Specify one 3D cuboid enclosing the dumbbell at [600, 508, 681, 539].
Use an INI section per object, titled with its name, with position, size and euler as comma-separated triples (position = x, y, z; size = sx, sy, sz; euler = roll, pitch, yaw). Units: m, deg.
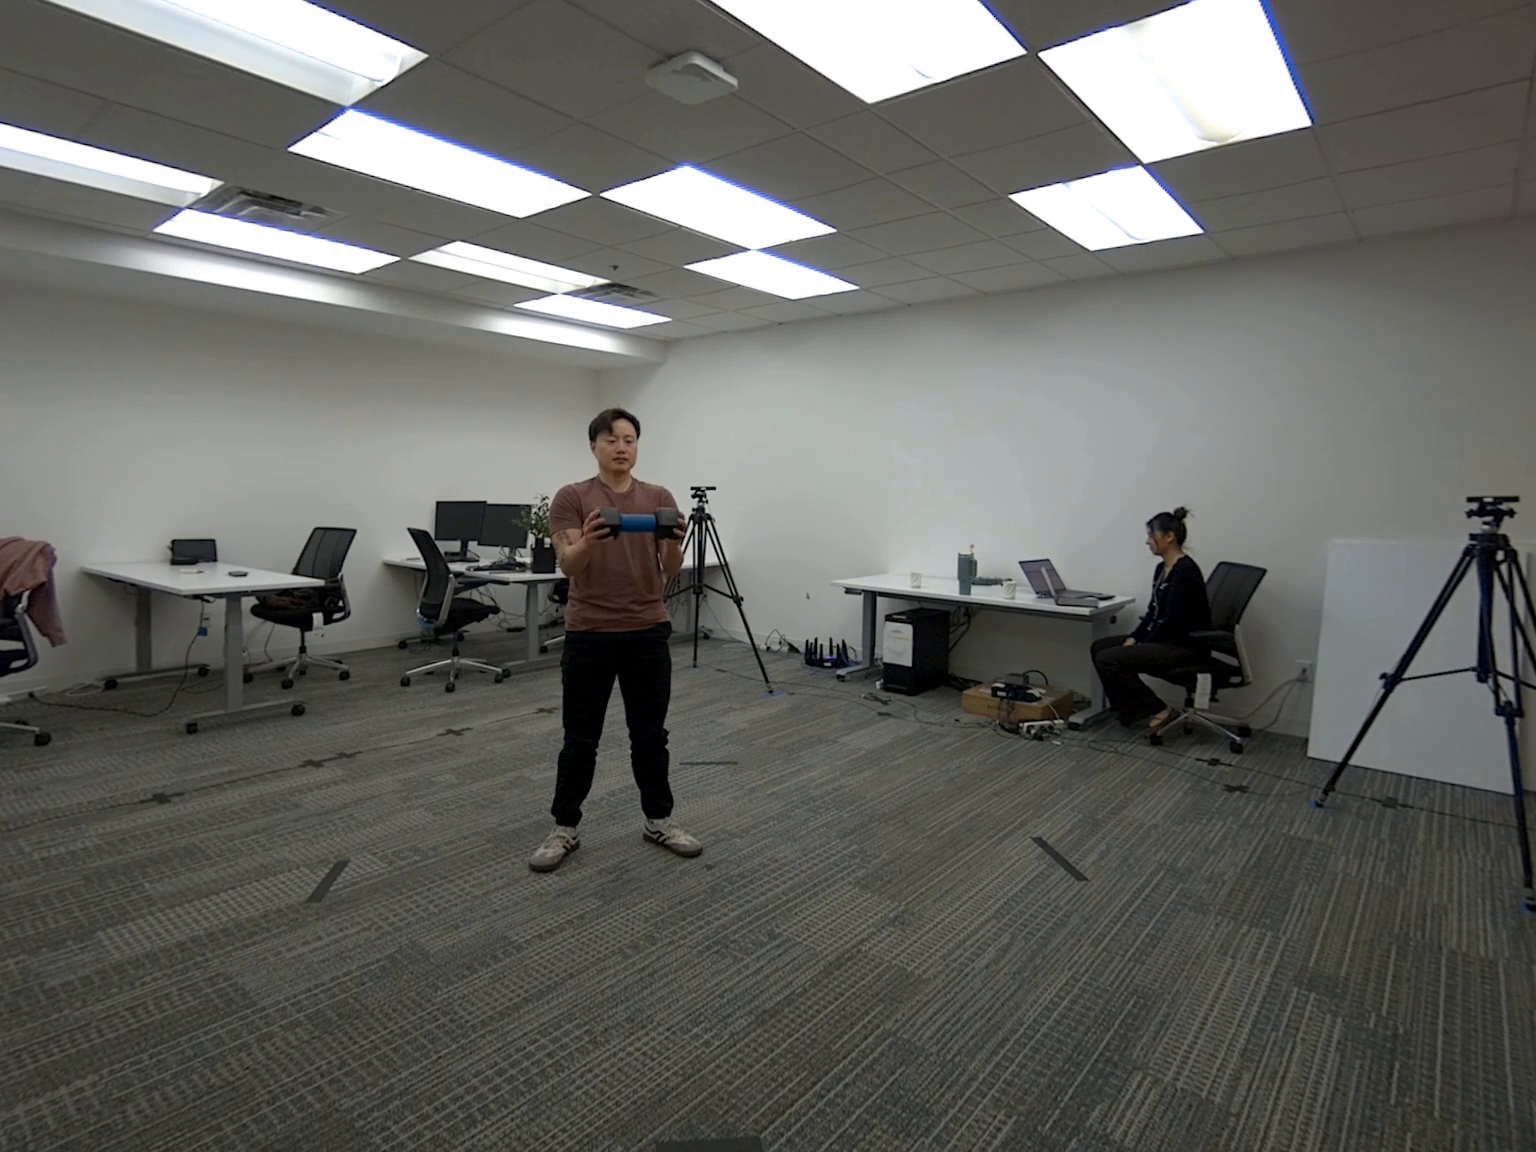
[dumbbell]
position = -0.462, -0.179, 2.895
size = 0.287, 0.108, 0.126
euler = 2, 7, -22
